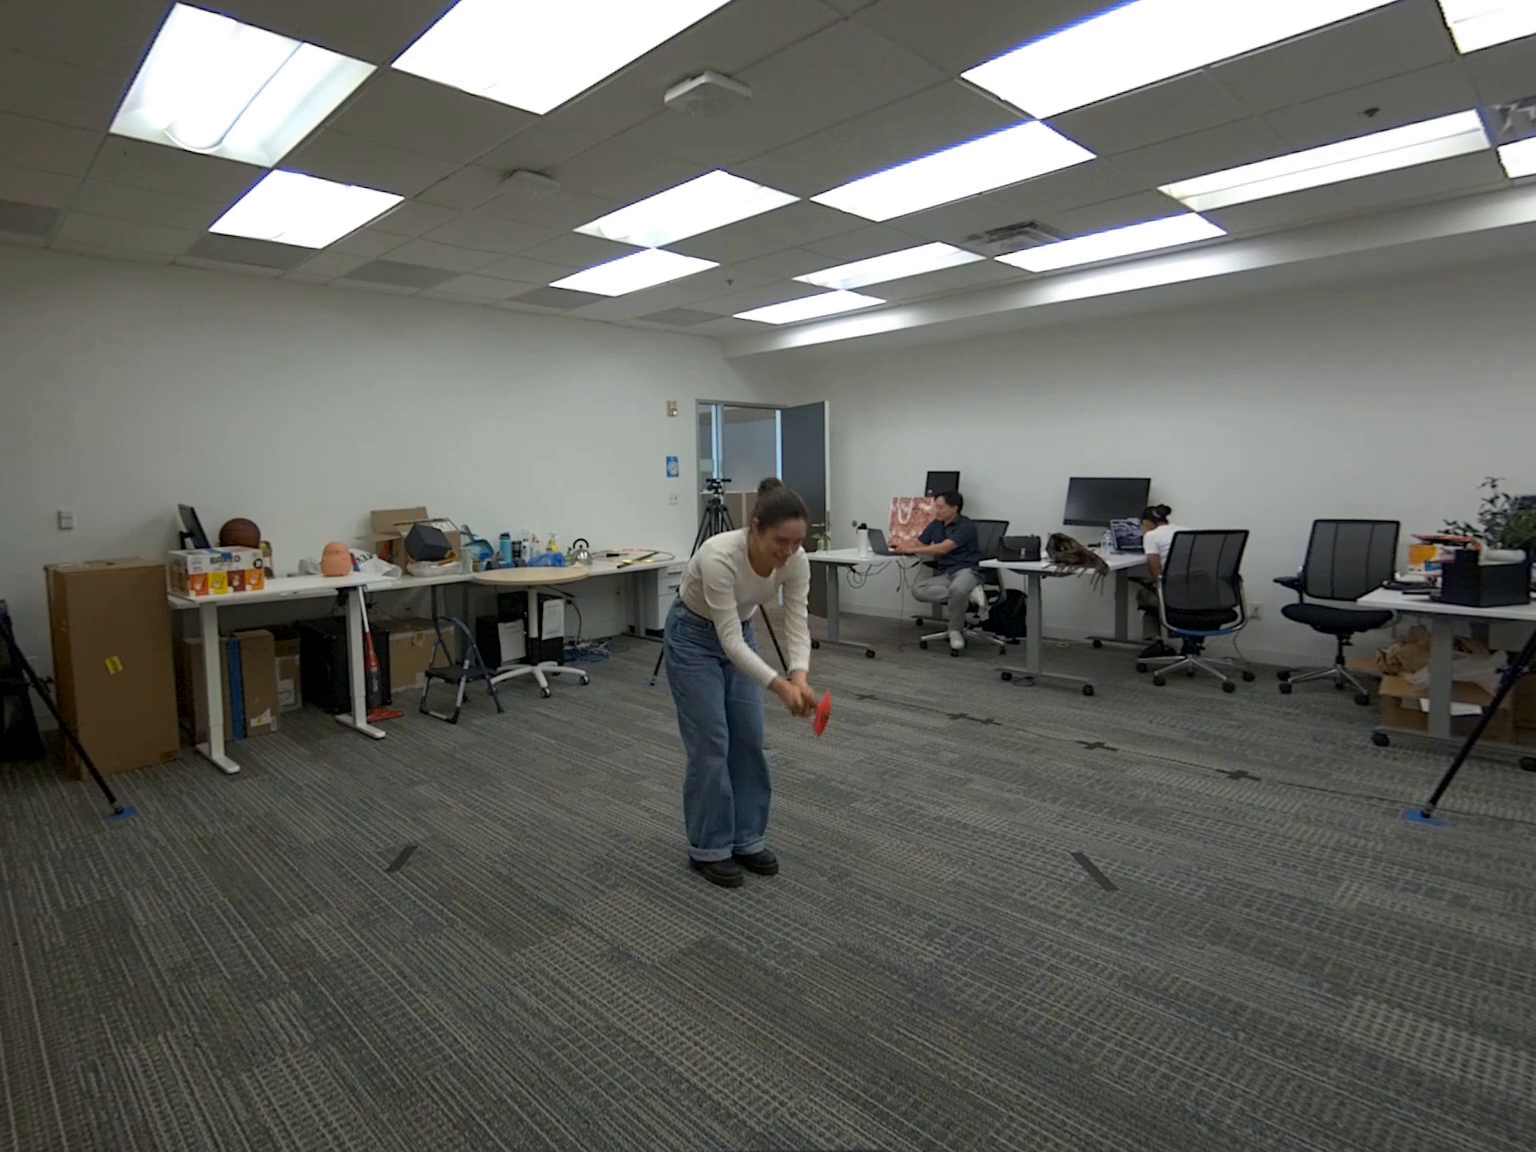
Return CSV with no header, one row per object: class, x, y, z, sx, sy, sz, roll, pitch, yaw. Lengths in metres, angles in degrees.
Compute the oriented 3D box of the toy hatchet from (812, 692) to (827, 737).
toy hatchet,0.127,0.414,2.532,0.030,0.133,0.264,2,-20,2
